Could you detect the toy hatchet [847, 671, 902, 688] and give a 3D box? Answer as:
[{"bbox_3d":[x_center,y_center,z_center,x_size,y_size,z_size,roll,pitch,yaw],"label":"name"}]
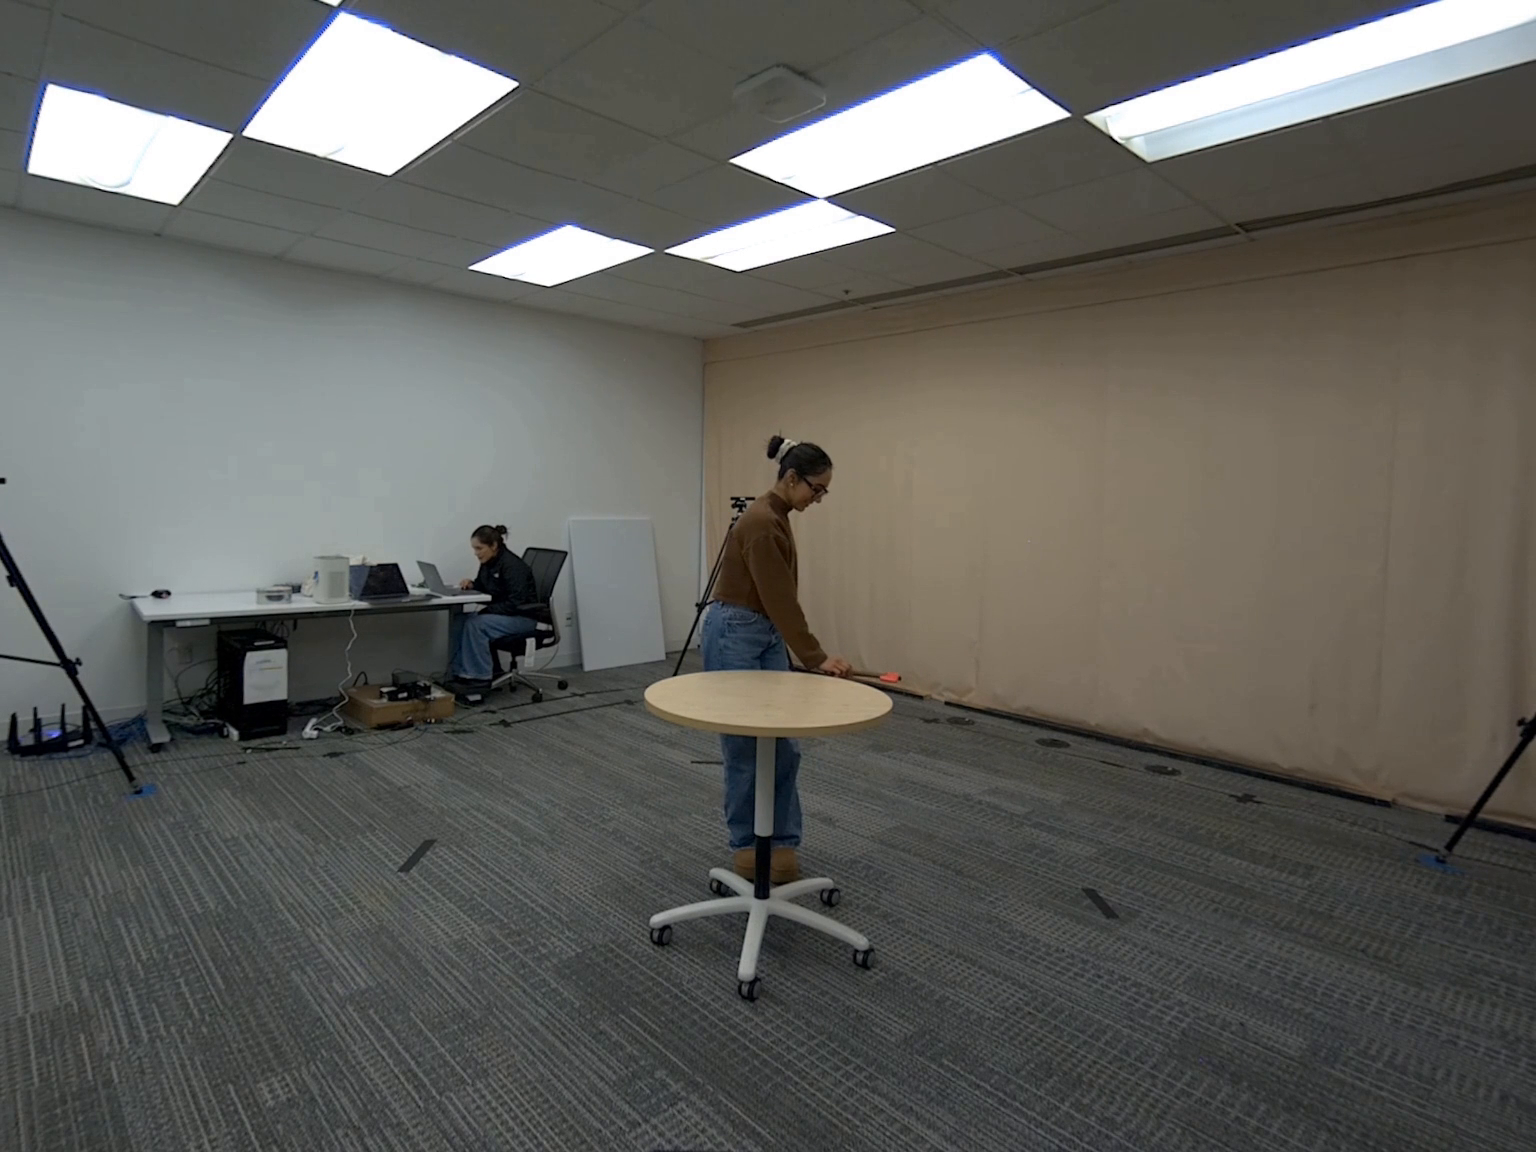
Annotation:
[{"bbox_3d":[0.346,0.354,3.066,0.277,0.029,0.128,6,3,38],"label":"toy hatchet"}]
